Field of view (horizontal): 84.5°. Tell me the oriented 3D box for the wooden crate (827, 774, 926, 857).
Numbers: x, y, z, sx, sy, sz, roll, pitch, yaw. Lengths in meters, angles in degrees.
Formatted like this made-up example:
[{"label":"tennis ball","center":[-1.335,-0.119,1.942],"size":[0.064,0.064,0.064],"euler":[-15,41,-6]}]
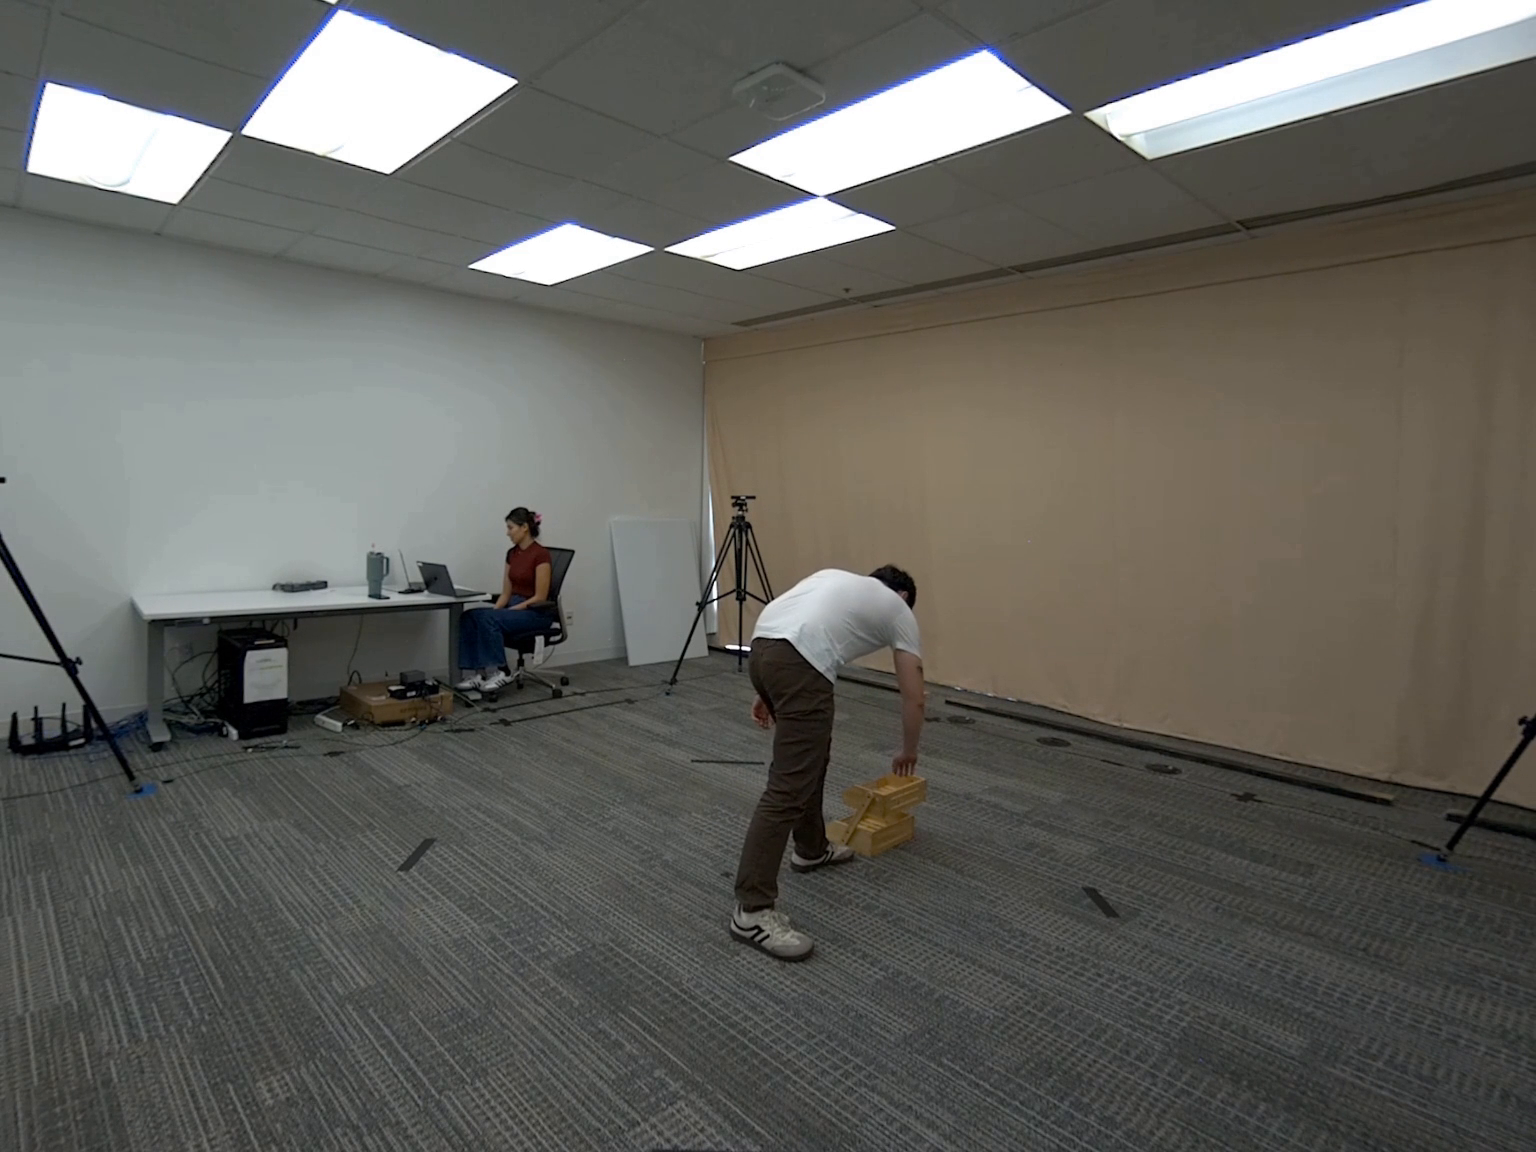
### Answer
[{"label":"wooden crate","center":[0.426,0.949,3.455],"size":[0.310,0.272,0.317],"euler":[6,6,43]}]
